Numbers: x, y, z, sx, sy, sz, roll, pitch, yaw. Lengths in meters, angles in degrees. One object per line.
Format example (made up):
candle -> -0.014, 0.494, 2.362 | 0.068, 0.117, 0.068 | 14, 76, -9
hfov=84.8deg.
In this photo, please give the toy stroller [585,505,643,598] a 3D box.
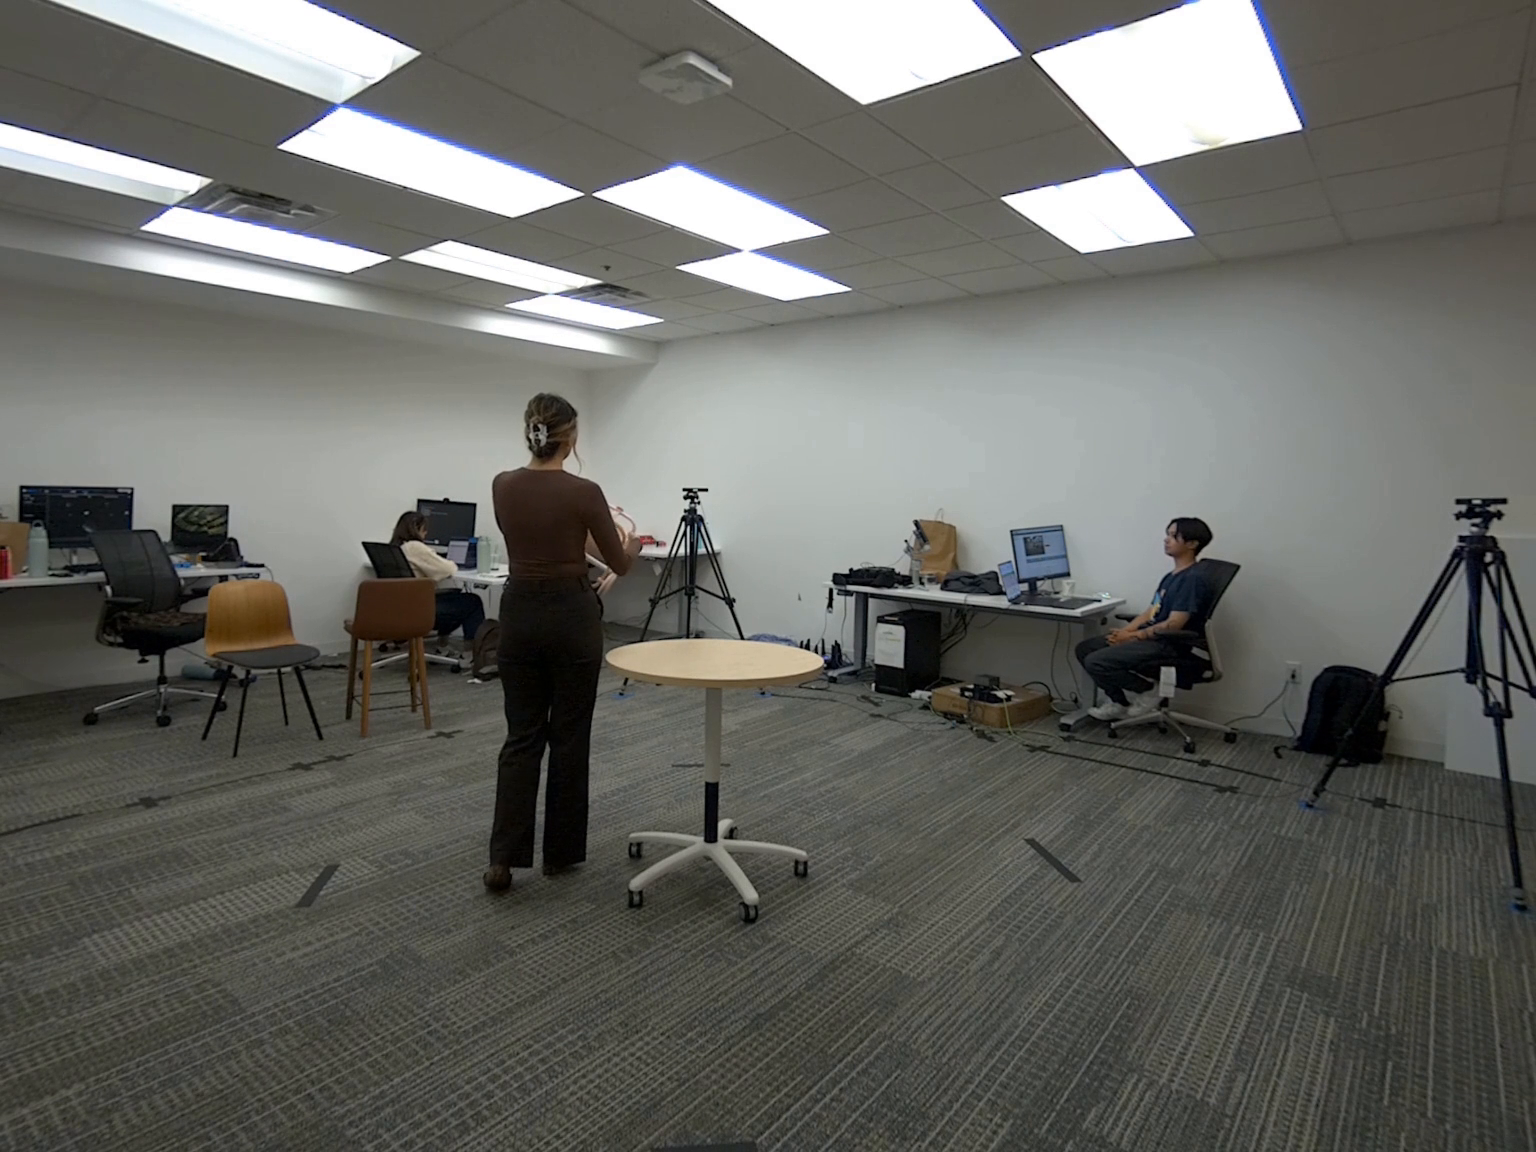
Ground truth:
toy stroller -> -0.711, -0.146, 3.574 | 0.282, 0.340, 0.536 | 27, 10, -1
